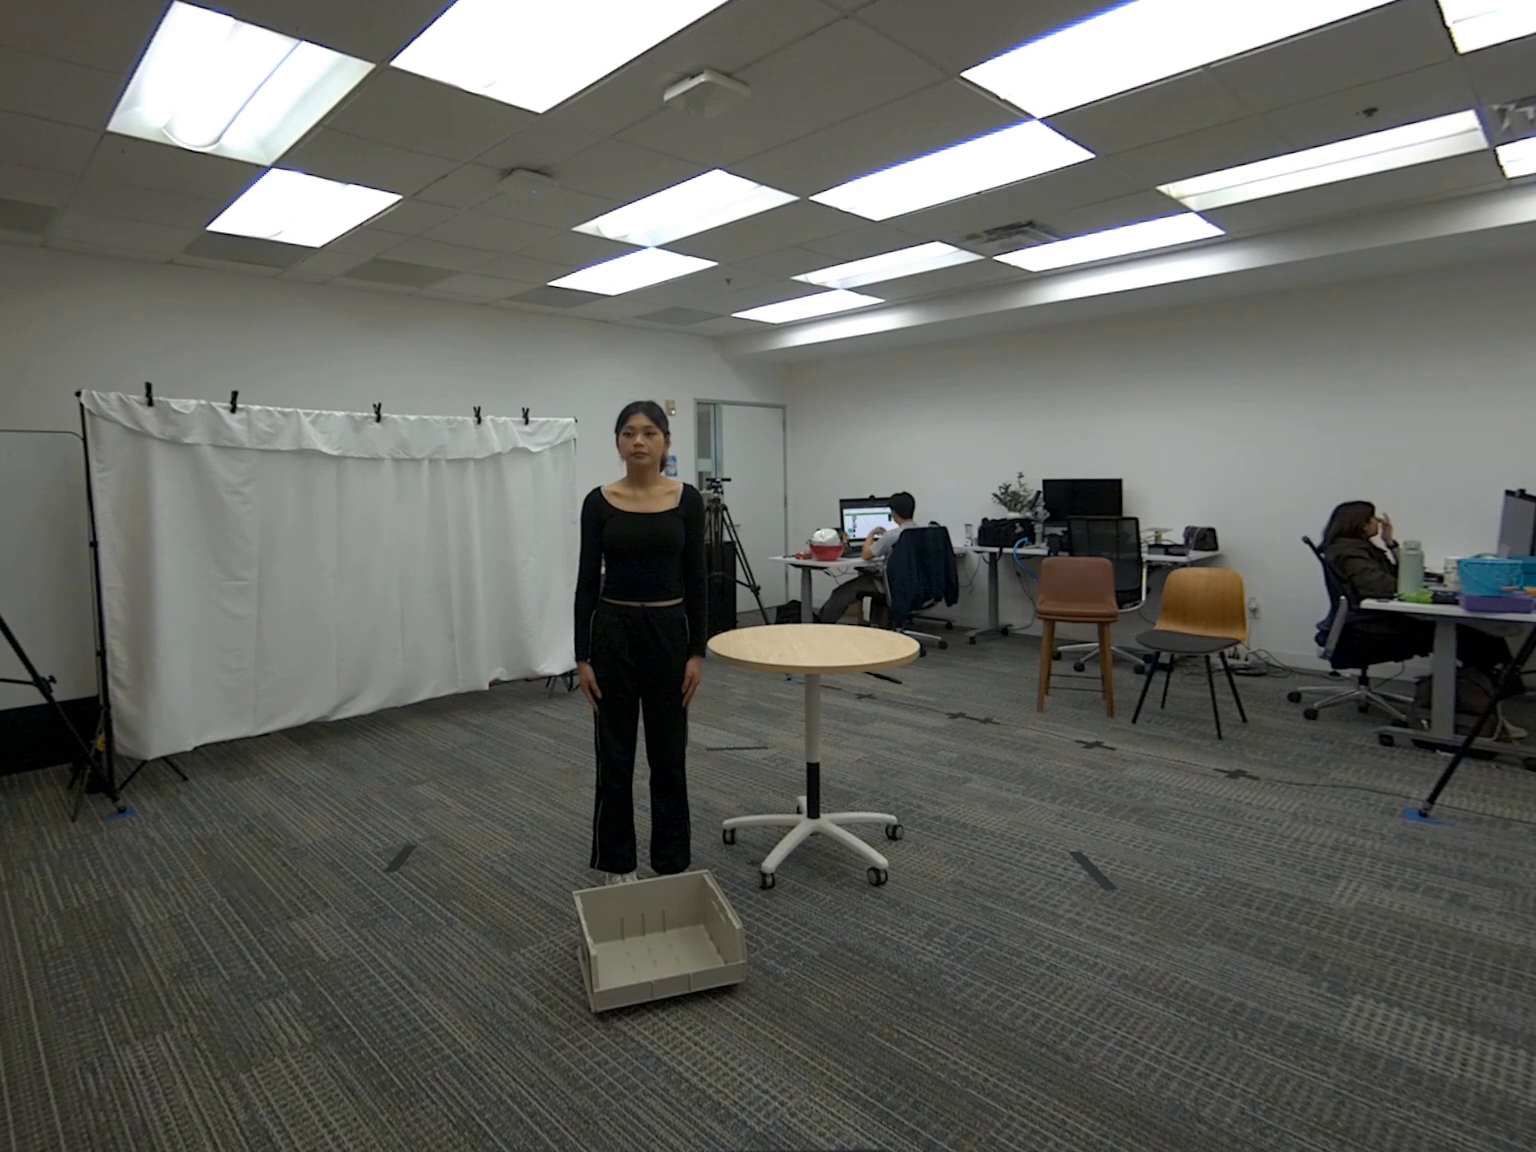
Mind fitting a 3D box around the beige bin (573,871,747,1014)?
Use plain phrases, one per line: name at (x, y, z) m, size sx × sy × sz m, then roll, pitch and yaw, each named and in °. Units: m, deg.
beige bin at (-0.320, 1.030, 2.433) m, size 0.416 × 0.188 × 0.385 m, roll -3°, pitch 5°, yaw -18°
